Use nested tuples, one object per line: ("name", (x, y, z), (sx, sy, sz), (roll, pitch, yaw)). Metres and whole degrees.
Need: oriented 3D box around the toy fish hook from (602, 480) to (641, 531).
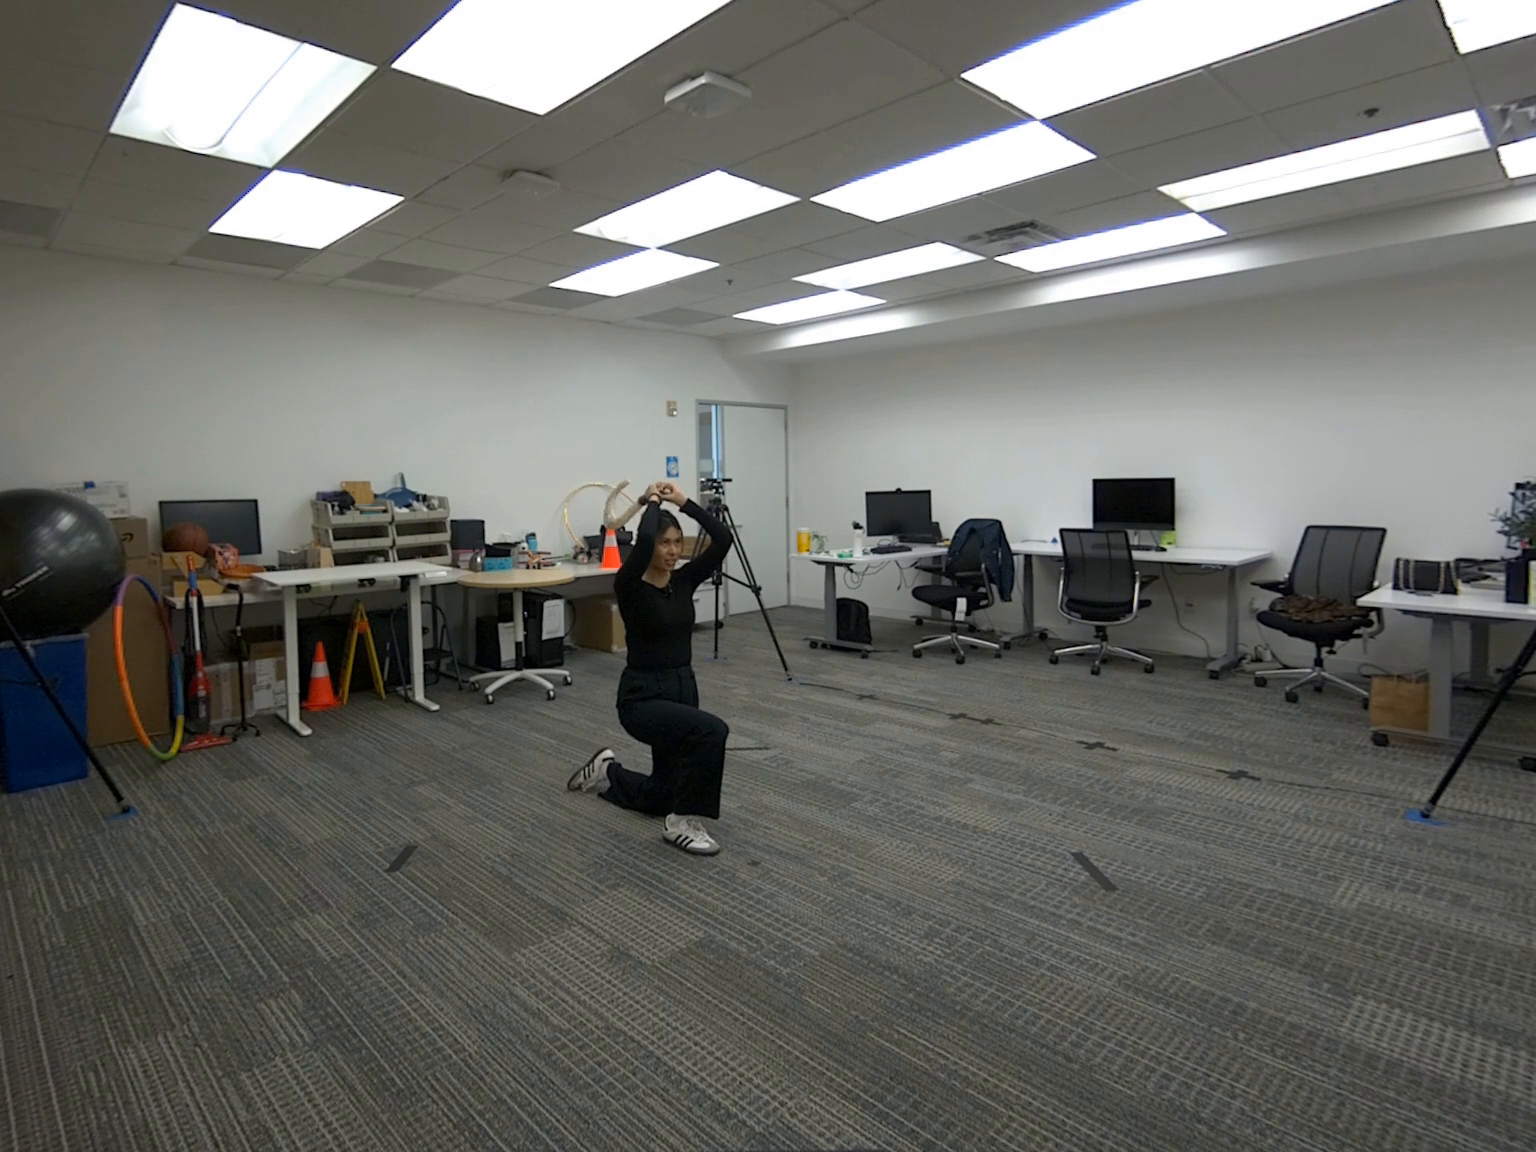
("toy fish hook", (-0.557, -0.383, 3.637), (0.047, 0.228, 0.515), (10, -18, -38))
